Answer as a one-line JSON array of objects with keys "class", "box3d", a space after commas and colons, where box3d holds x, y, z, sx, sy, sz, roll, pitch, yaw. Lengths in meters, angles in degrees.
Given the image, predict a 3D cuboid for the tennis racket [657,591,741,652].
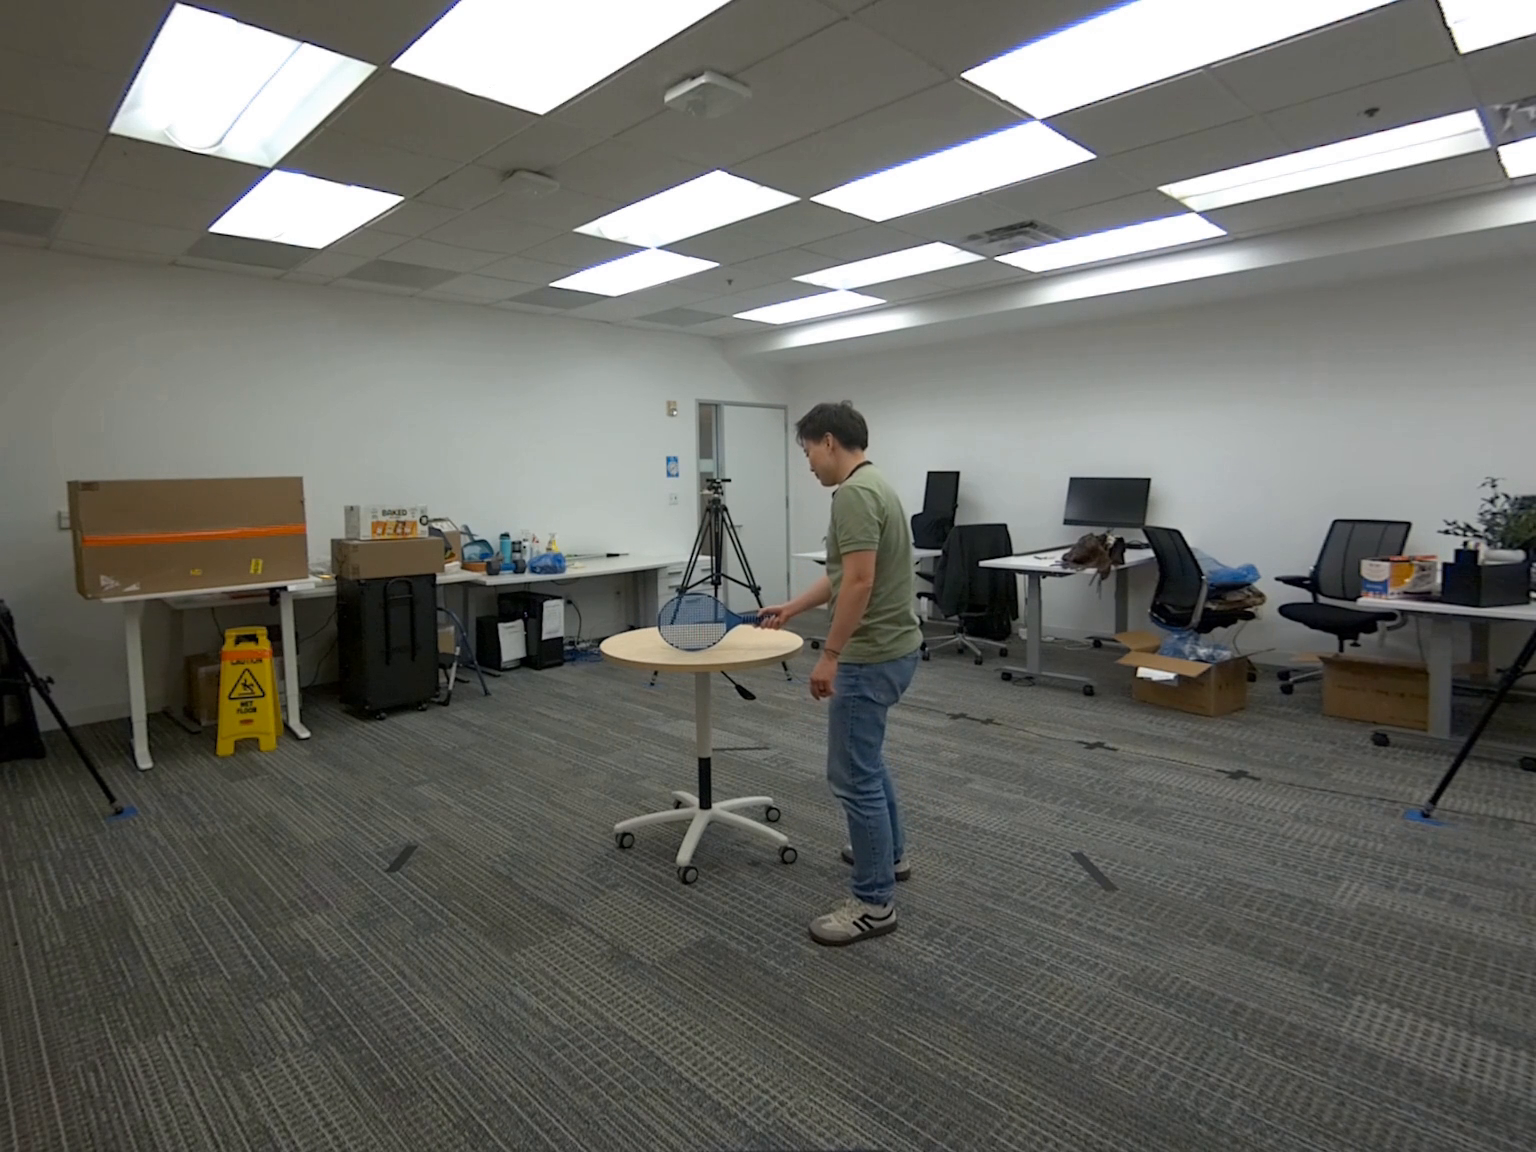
[{"class": "tennis racket", "box3d": [-0.185, 0.162, 3.074, 0.437, 0.216, 0.031, -2, -10, 11]}]
